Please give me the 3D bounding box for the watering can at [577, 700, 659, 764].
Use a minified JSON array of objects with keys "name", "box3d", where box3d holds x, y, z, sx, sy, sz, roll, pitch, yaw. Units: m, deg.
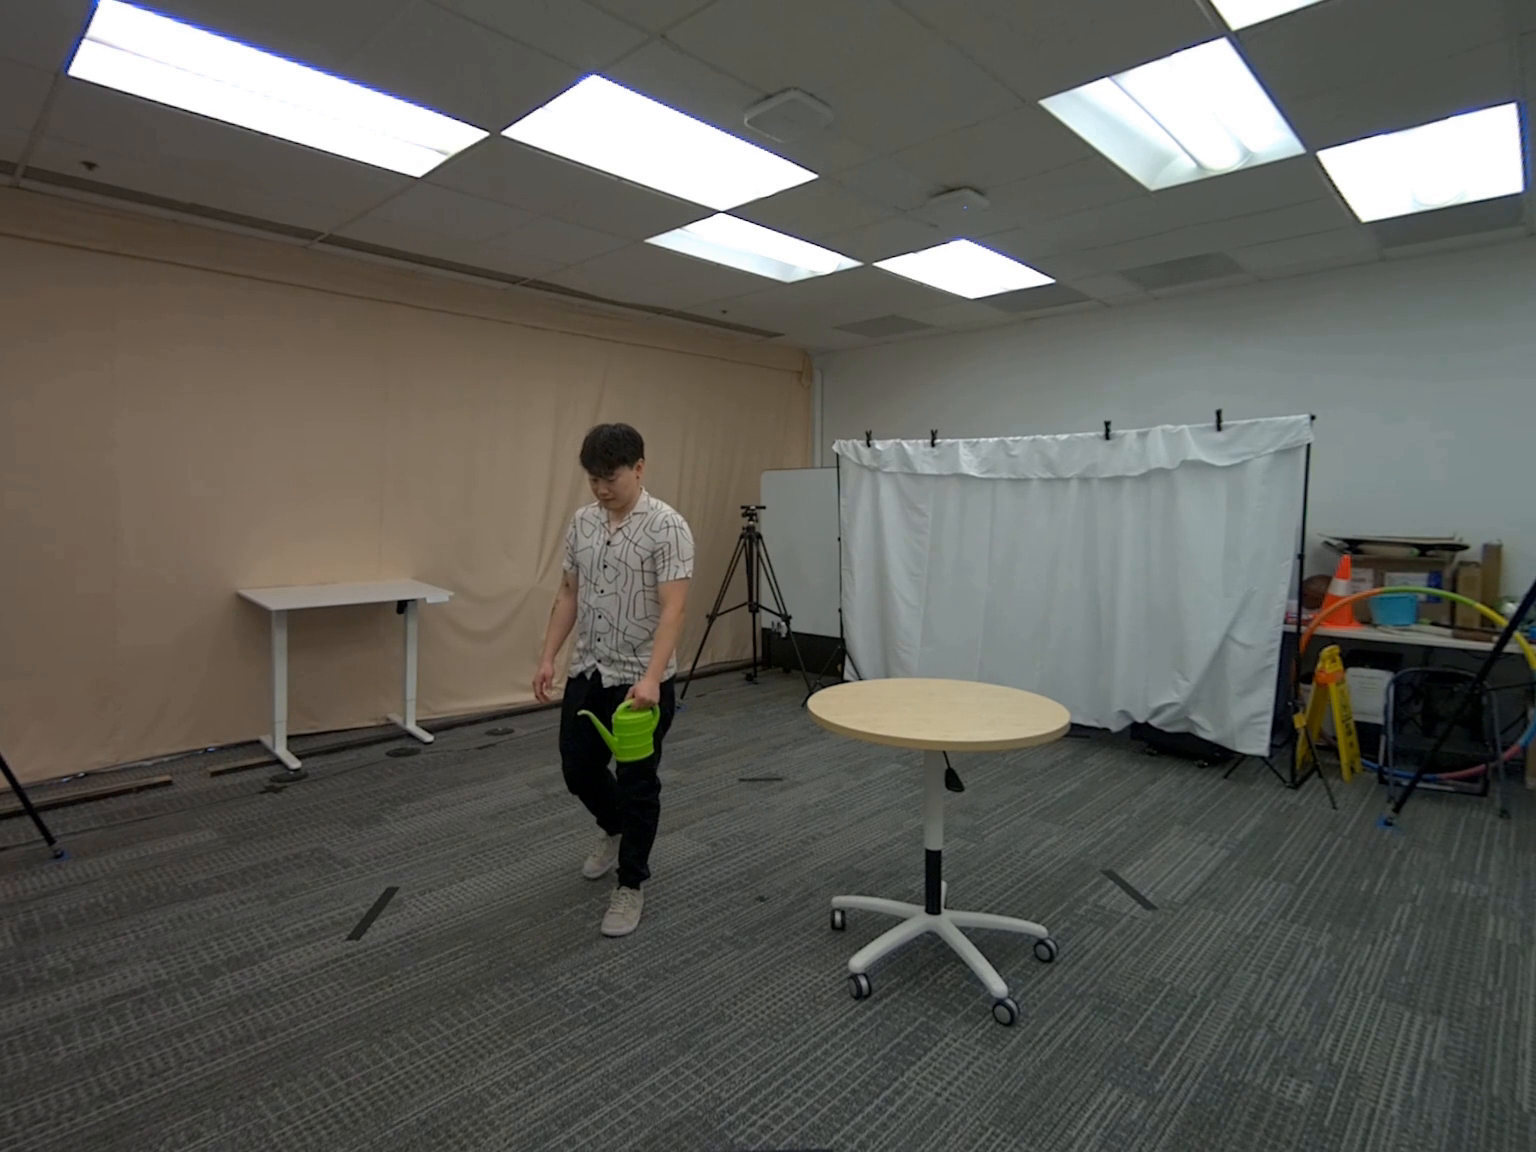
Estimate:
[{"name":"watering can","box3d":[-0.434,0.464,2.518,0.271,0.176,0.101,-5,9,-30]}]
